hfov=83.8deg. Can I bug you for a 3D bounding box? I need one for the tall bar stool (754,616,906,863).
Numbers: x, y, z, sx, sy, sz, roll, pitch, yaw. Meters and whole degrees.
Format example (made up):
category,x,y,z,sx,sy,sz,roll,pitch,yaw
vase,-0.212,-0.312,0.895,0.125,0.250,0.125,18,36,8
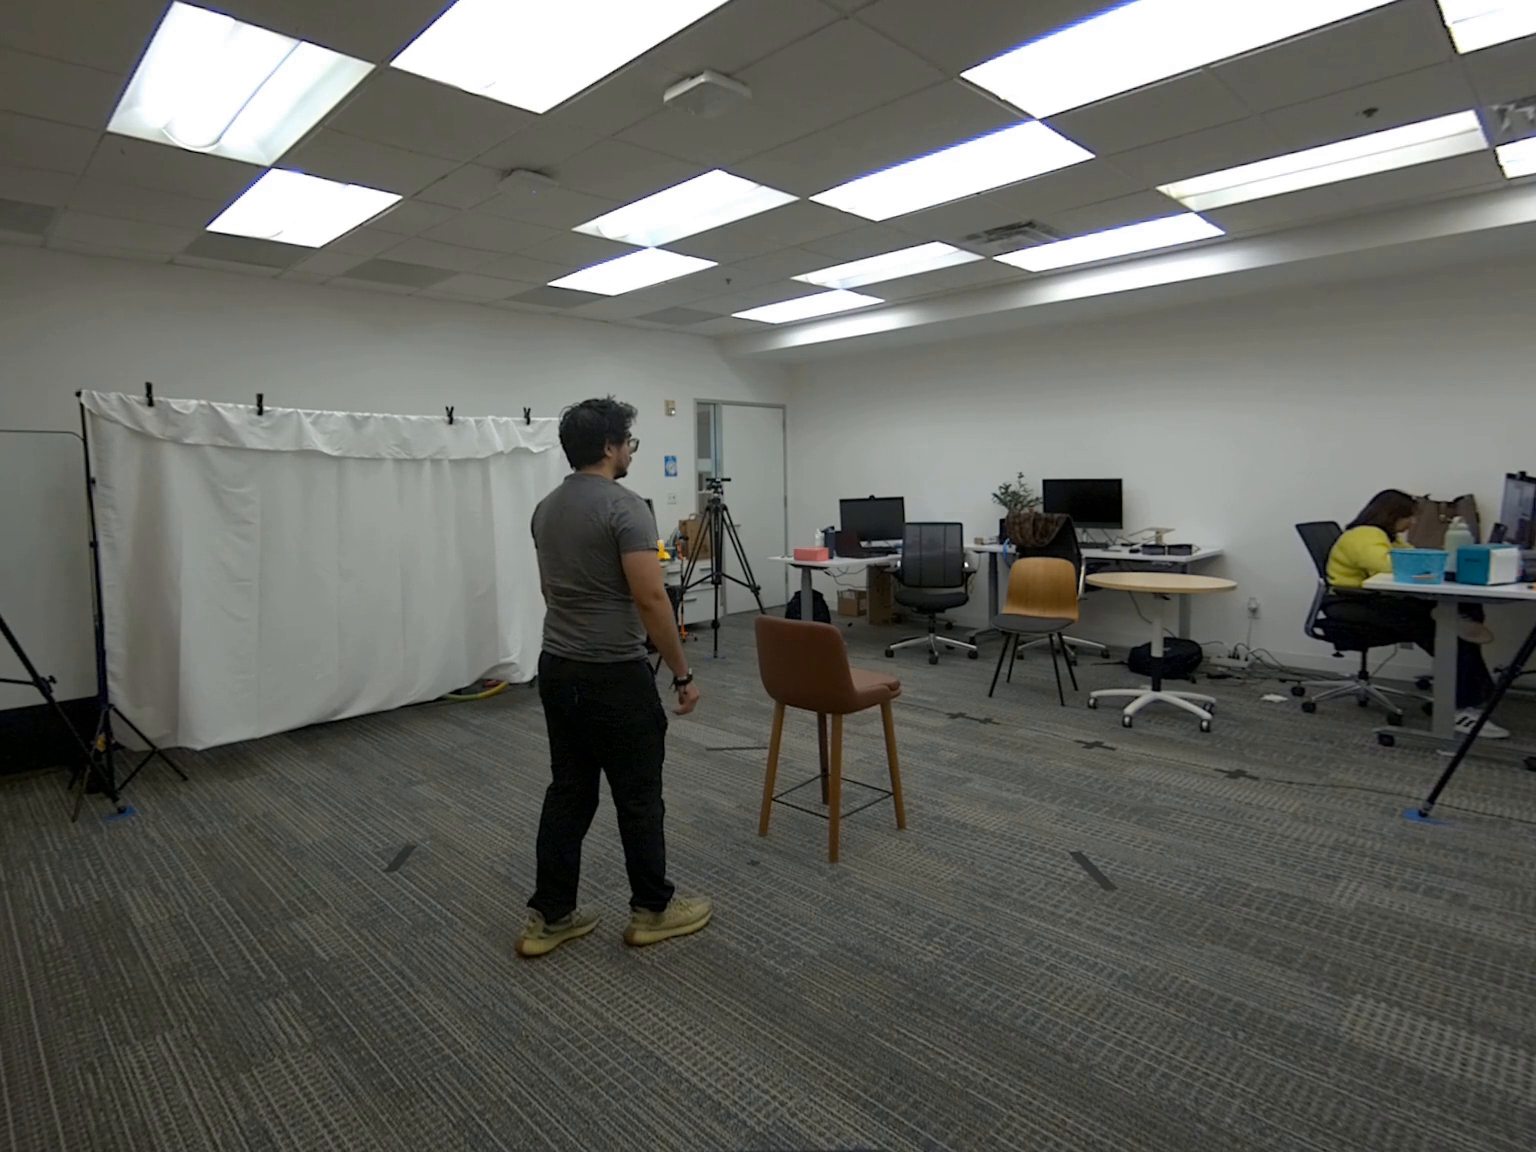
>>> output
category,x,y,z,sx,sy,sz,roll,pitch,yaw
tall bar stool,0.241,0.575,3.346,0.471,0.885,0.456,4,8,44
